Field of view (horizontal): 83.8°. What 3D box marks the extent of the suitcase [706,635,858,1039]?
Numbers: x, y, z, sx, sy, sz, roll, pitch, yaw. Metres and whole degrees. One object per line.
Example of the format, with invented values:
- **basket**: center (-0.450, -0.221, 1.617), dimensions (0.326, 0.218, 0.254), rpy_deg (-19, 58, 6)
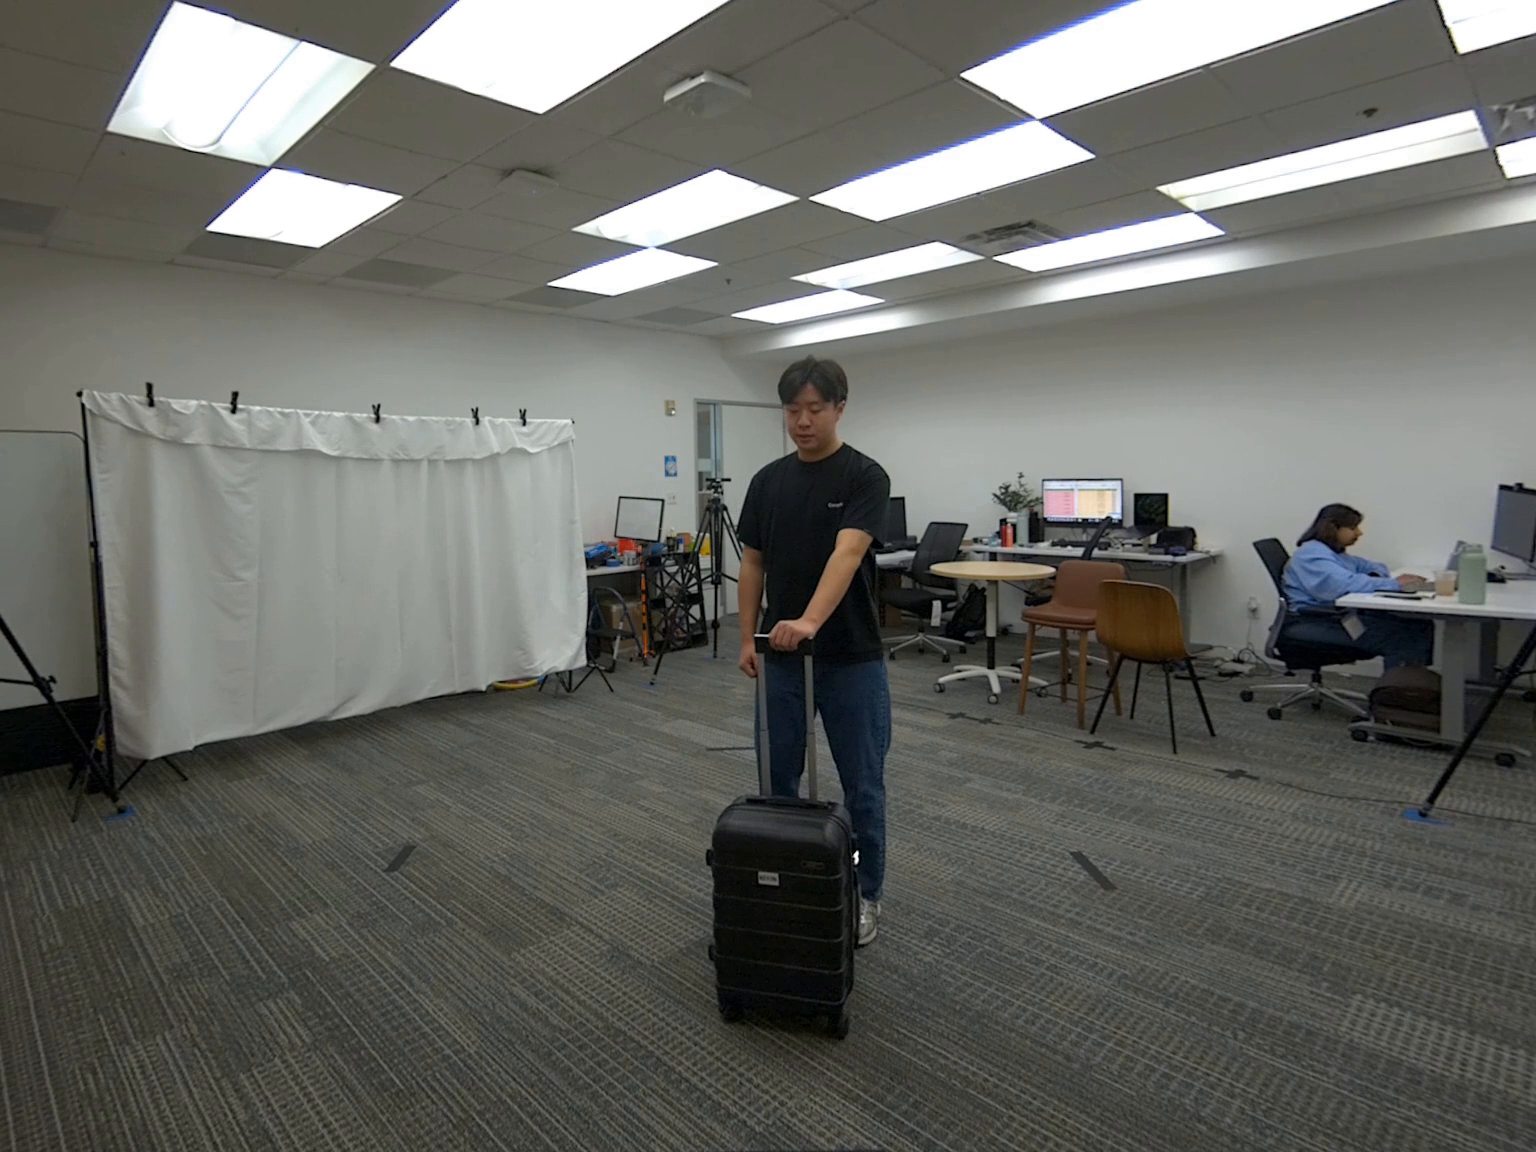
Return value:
- **suitcase**: center (0.038, 0.675, 2.213), dimensions (0.390, 0.970, 0.255), rpy_deg (-1, 9, 15)
